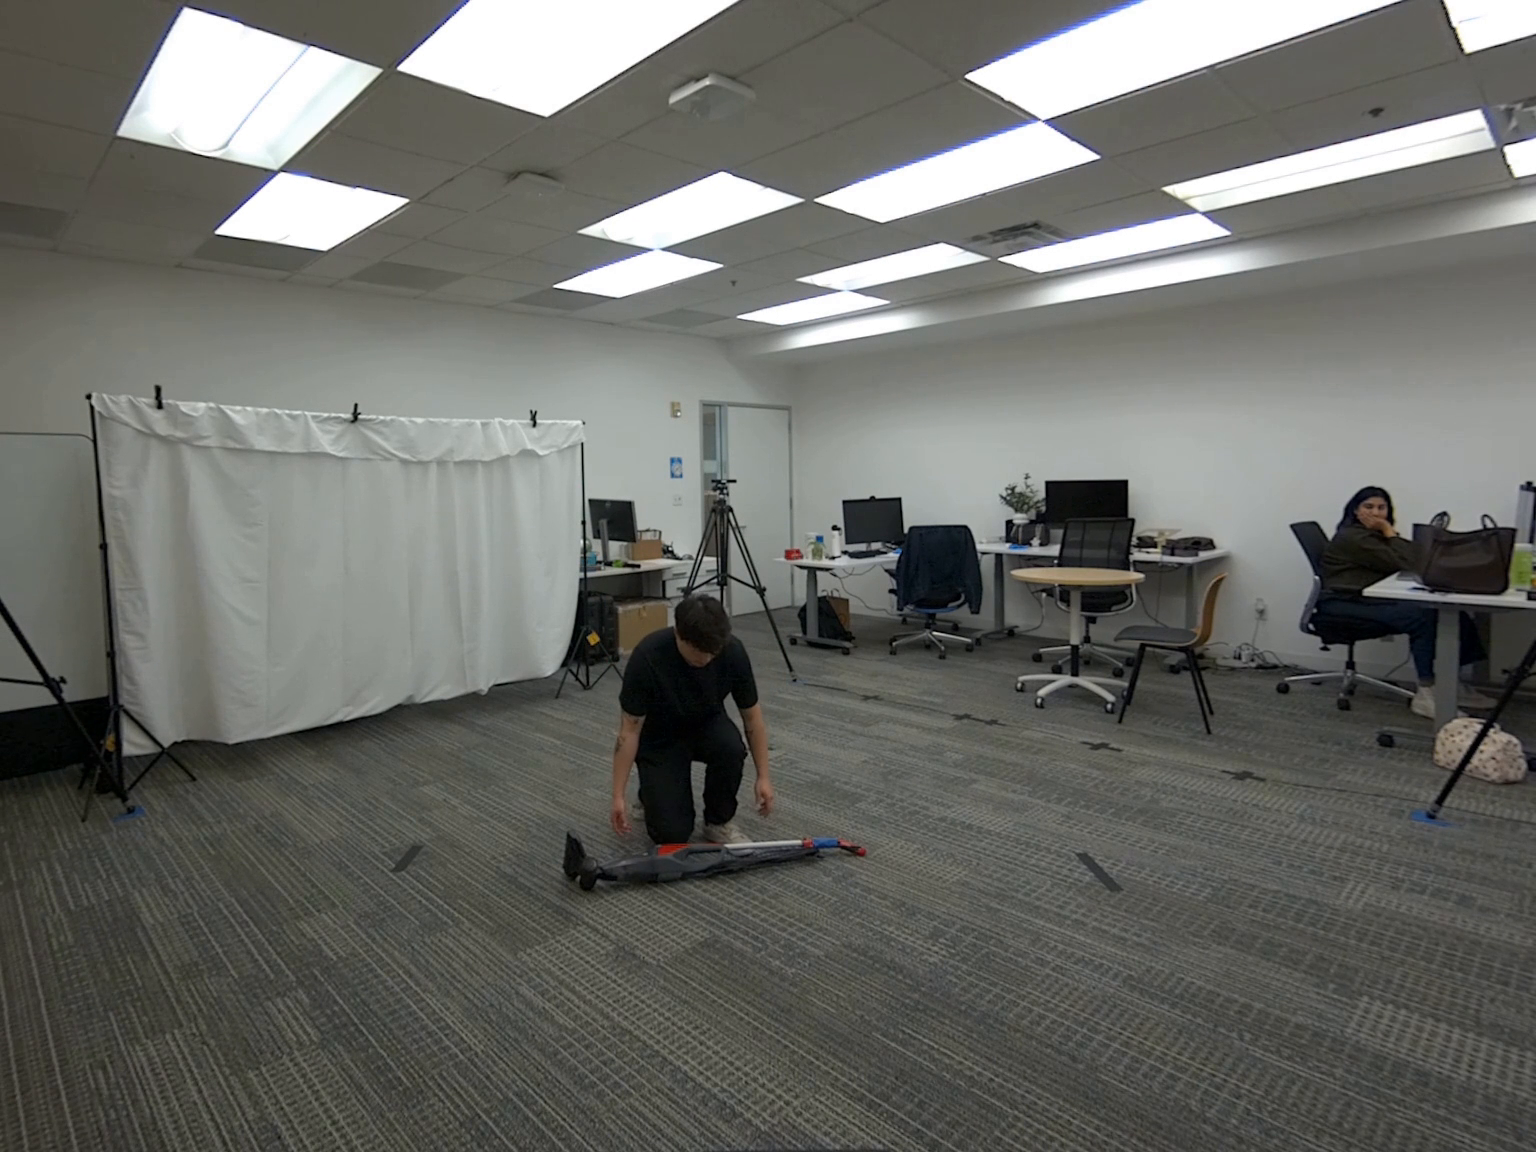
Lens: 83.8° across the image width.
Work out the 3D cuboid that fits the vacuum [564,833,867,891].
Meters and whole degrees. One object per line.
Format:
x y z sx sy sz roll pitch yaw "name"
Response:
-0.158 0.994 3.061 1.035 0.247 0.149 1 41 -14 "vacuum"
